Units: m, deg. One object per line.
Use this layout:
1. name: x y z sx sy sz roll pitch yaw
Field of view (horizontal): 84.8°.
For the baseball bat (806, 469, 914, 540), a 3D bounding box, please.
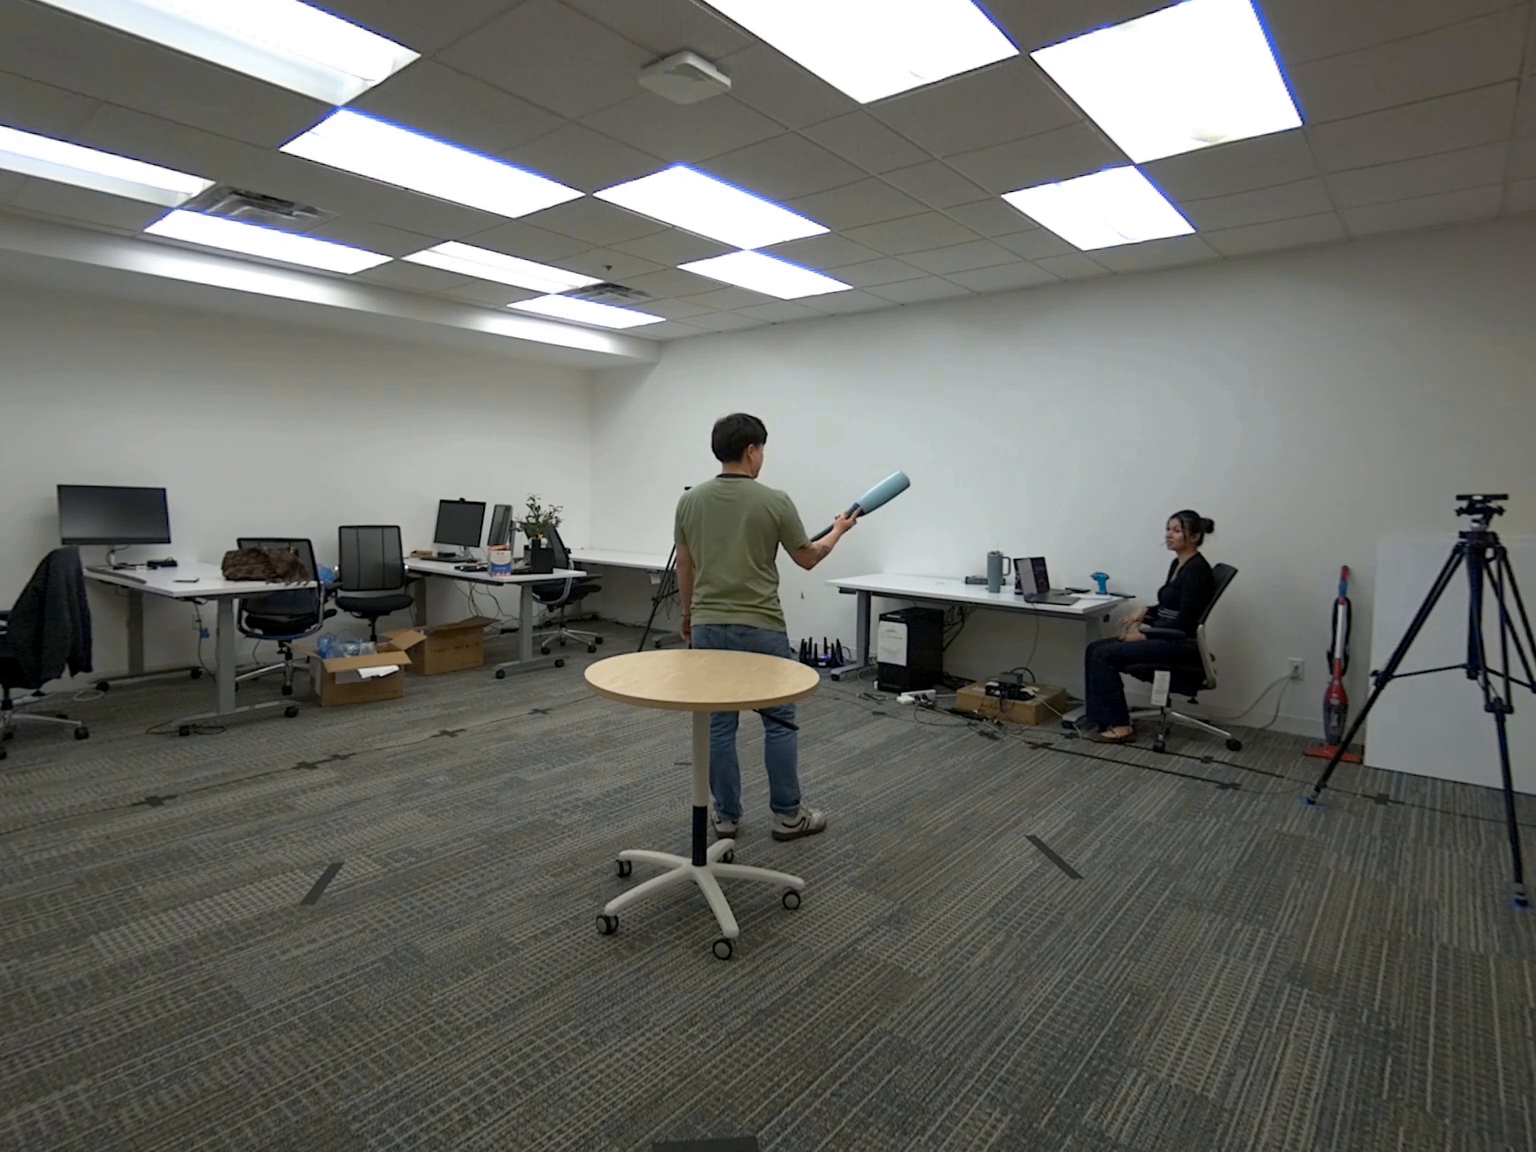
1. baseball bat: 0.373 -0.273 3.633 0.542 0.088 0.090 -36 11 -8
